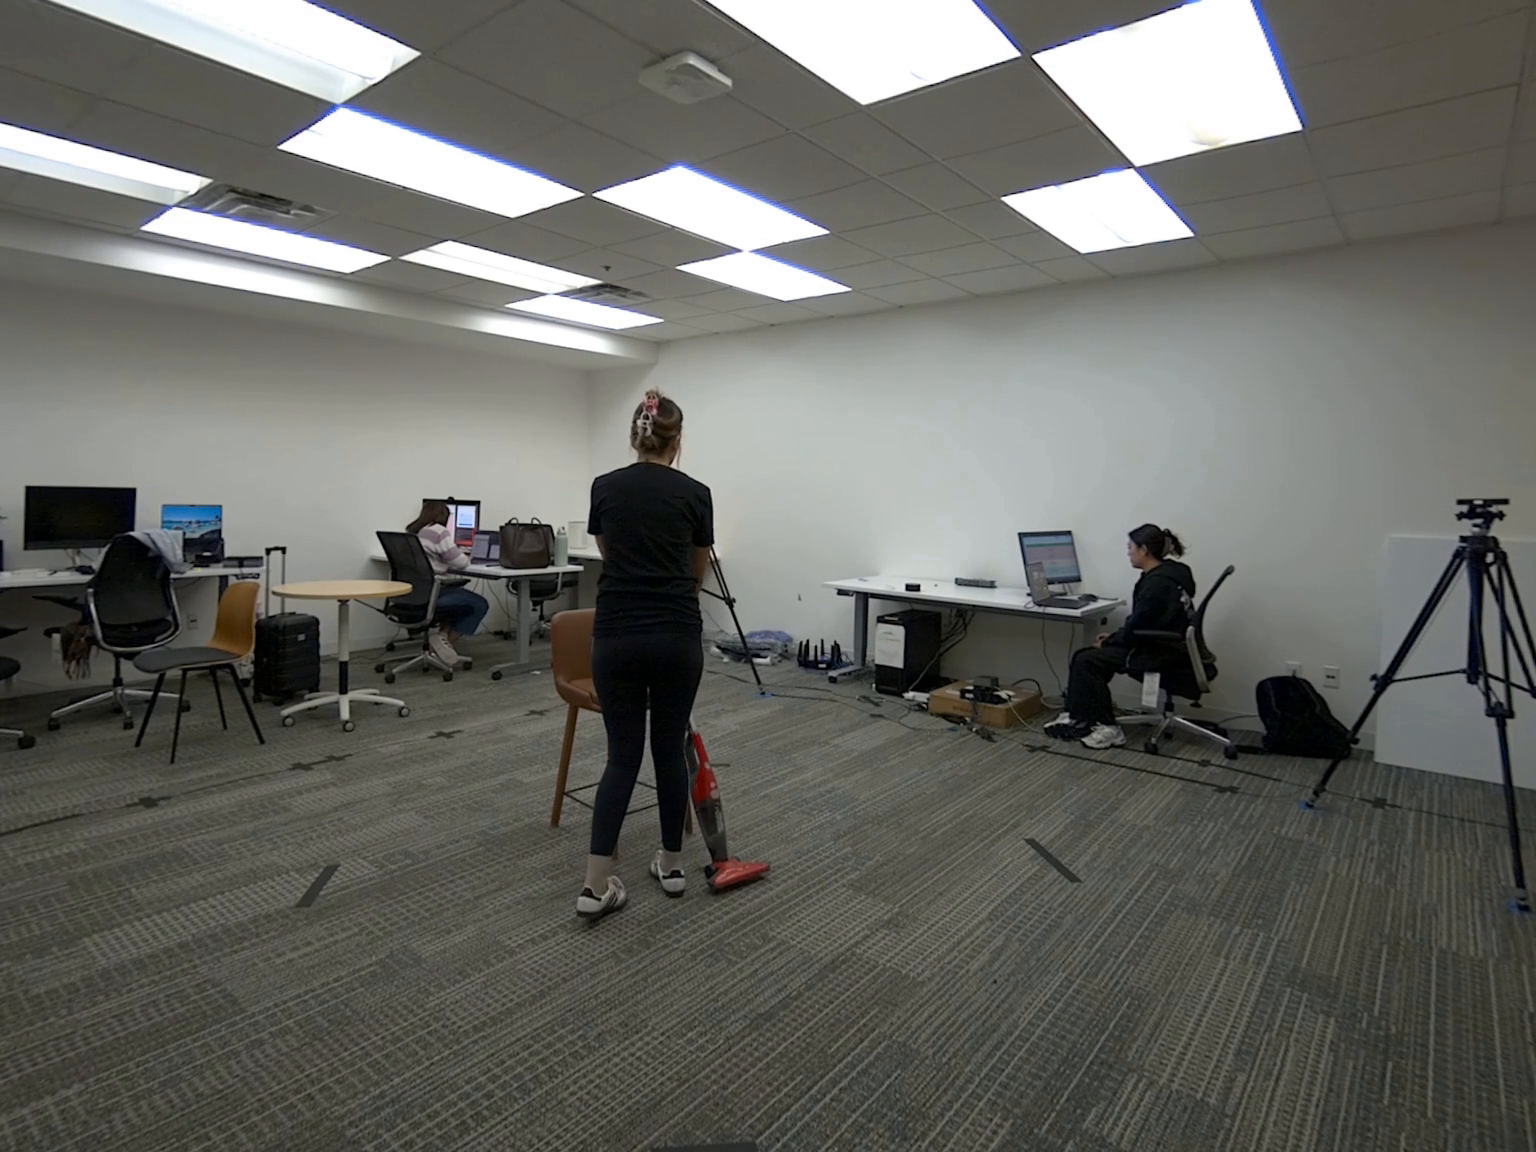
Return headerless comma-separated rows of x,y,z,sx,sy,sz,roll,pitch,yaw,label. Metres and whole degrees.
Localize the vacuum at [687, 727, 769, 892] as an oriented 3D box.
-0.298,0.598,3.210,0.244,1.077,0.145,1,-31,-45,vacuum
